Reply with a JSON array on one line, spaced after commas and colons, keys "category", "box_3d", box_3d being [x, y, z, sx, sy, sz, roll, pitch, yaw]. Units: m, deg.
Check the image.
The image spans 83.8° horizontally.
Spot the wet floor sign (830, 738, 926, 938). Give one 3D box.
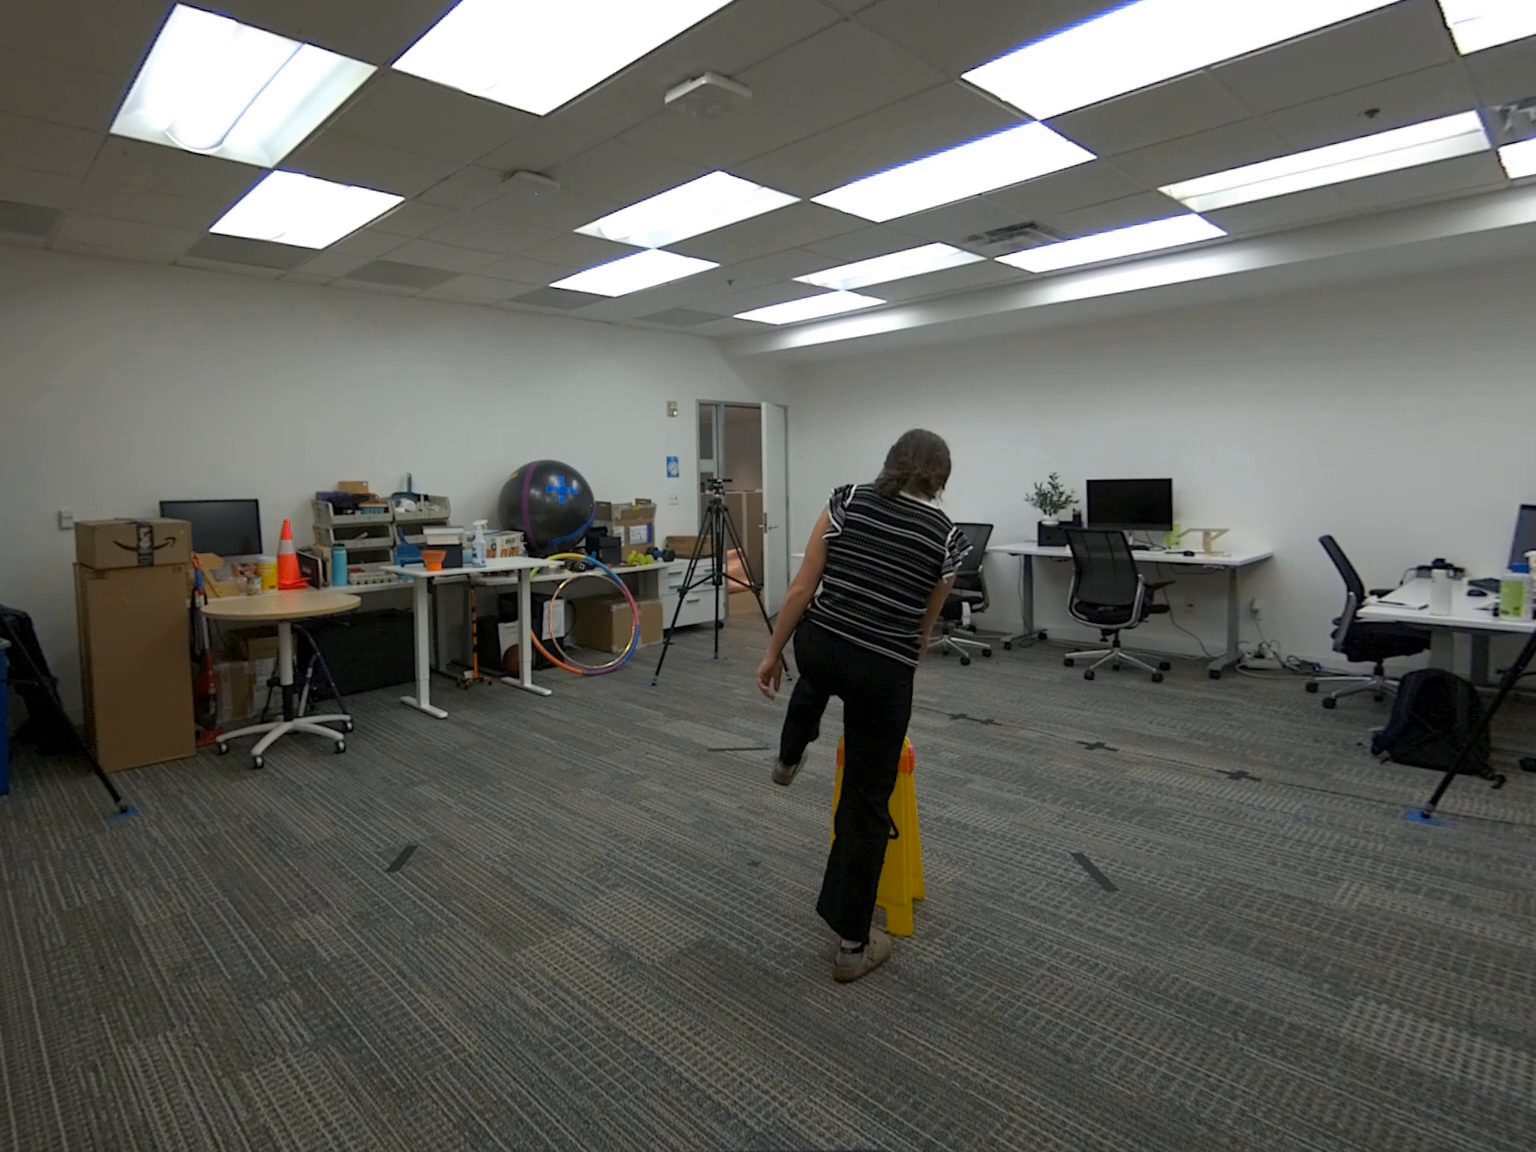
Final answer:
[{"category": "wet floor sign", "box_3d": [0.351, 0.761, 2.732, 0.288, 0.643, 0.285, 0, 5, 20]}]
